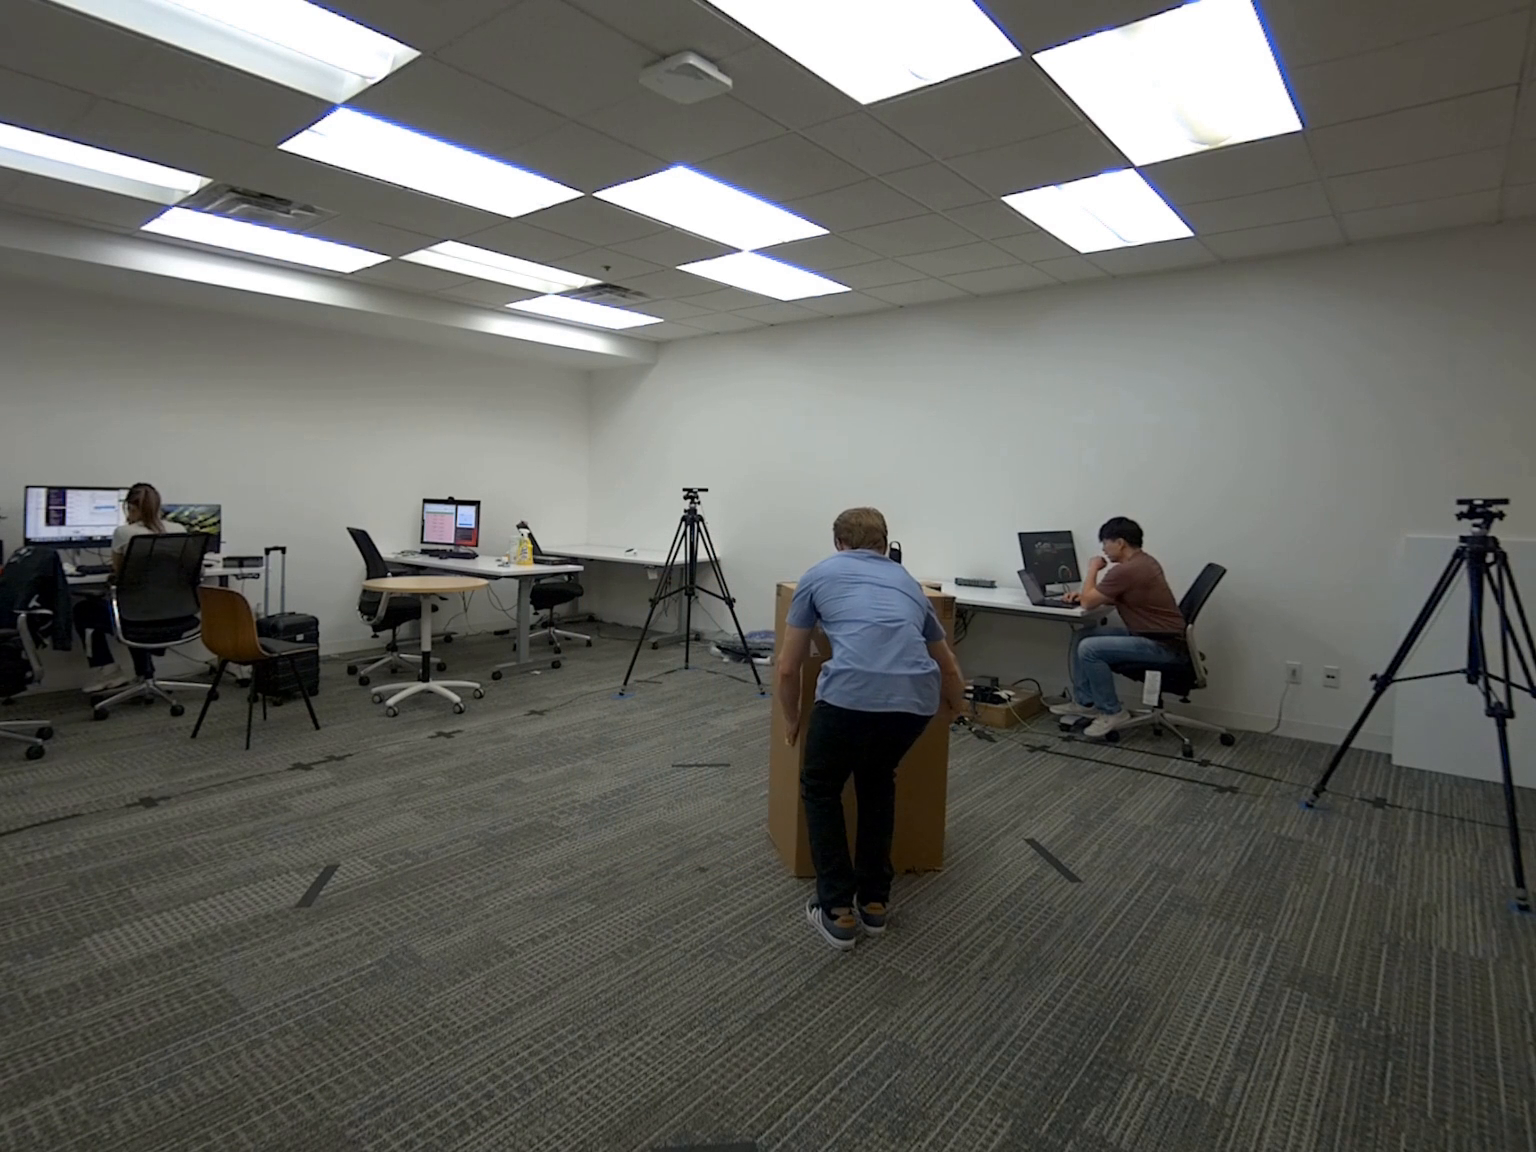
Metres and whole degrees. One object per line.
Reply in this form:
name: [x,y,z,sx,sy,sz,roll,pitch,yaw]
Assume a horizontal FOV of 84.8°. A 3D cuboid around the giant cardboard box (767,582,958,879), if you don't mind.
giant cardboard box: [0.336,0.555,3.281,0.571,1.023,0.433,1,3,-11]
